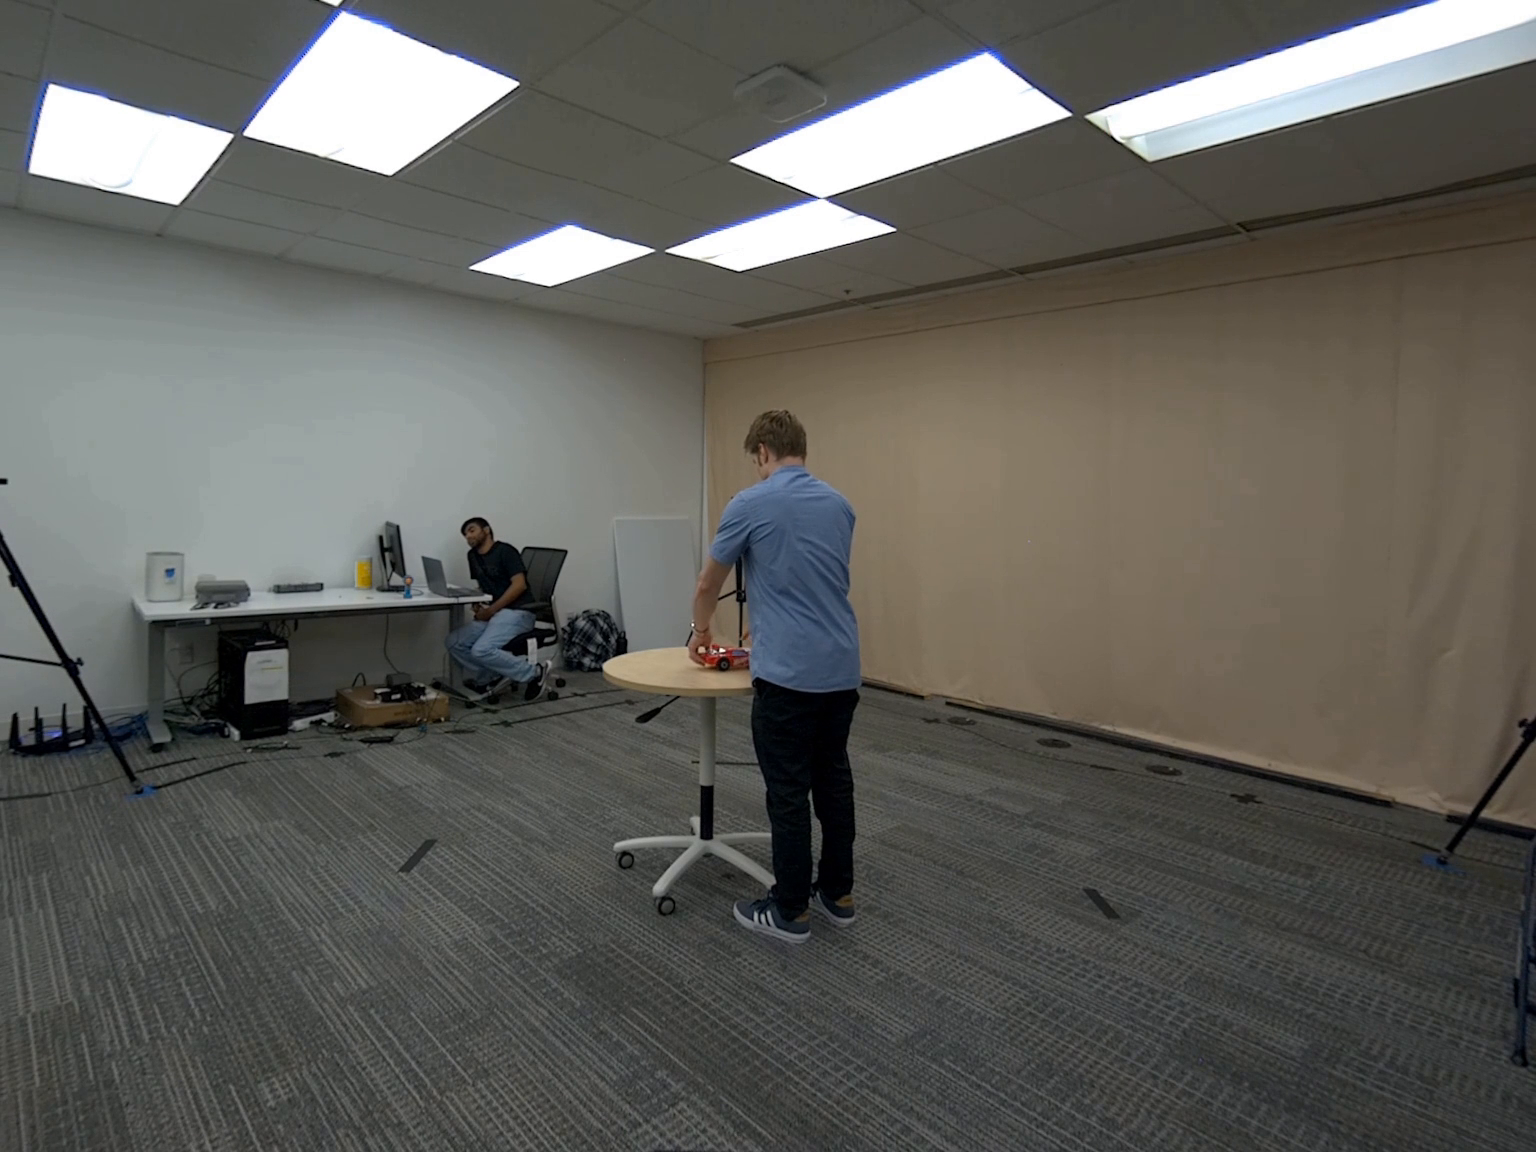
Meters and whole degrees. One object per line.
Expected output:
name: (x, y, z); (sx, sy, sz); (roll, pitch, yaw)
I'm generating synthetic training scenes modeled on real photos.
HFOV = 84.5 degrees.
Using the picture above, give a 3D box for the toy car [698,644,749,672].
toy car: (-0.141, 0.299, 3.020); (0.250, 0.083, 0.133); (11, -1, -23)
